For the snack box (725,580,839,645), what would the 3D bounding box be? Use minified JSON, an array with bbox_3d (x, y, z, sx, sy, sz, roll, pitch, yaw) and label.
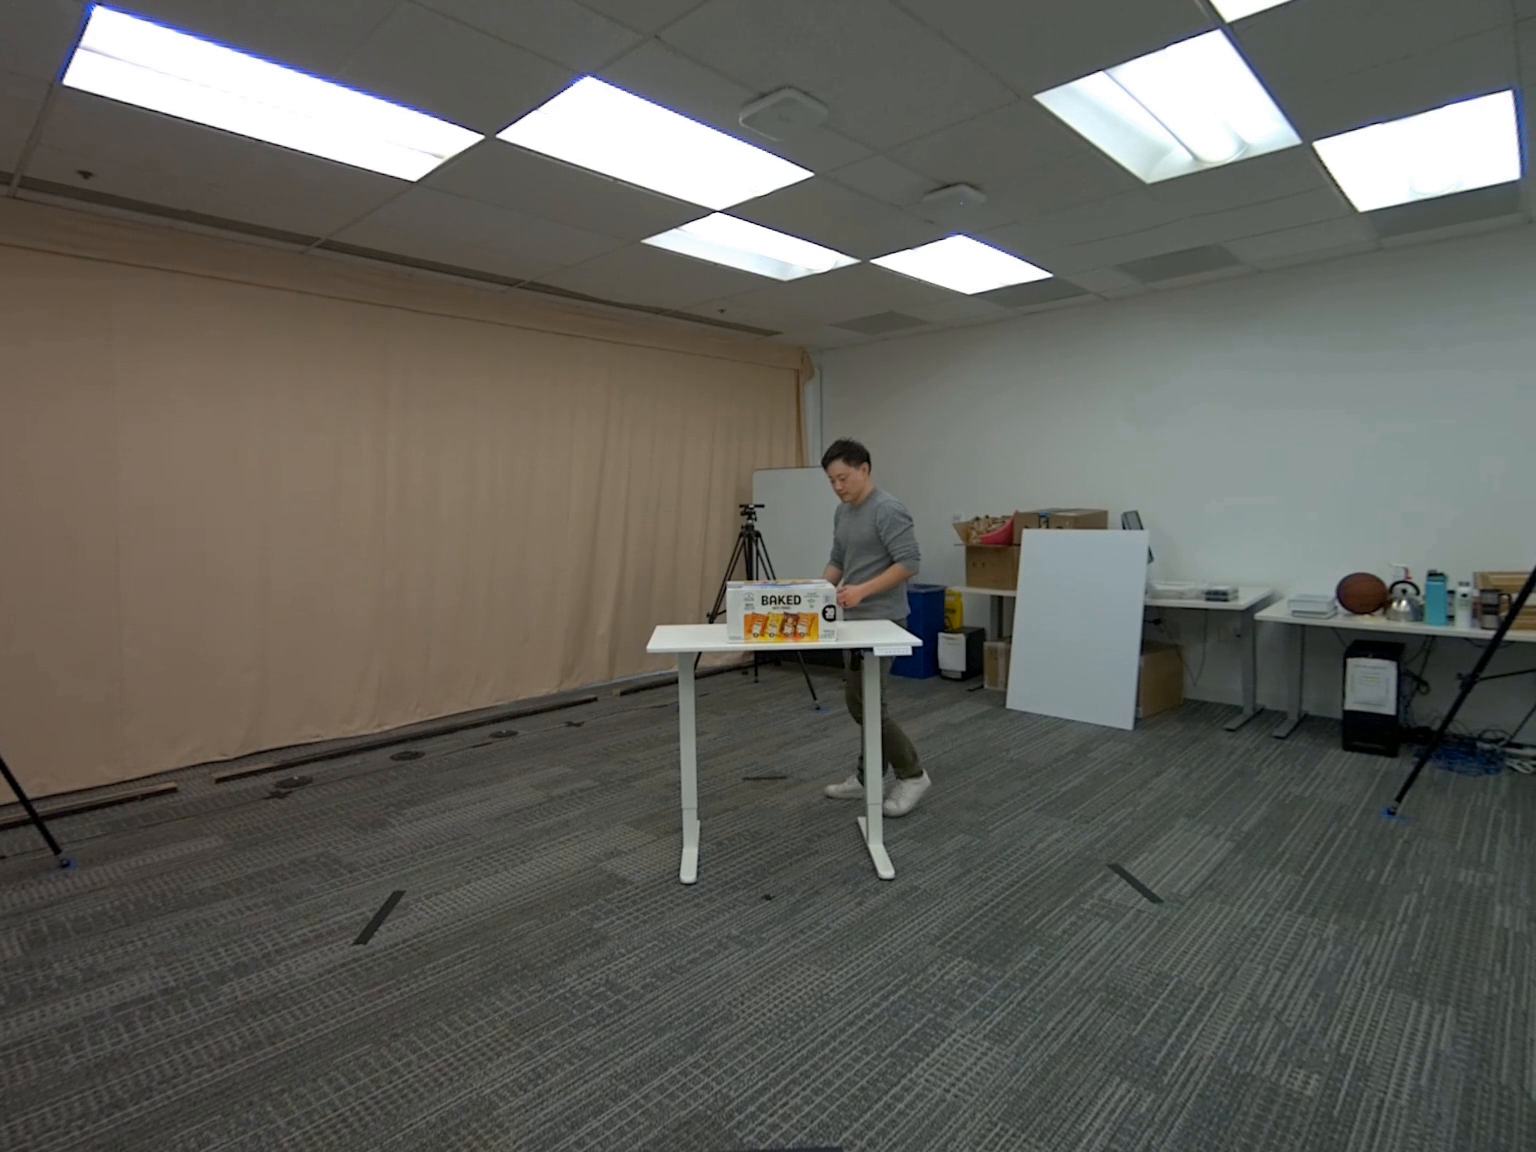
[{"bbox_3d":[0.047,0.133,3.272,0.405,0.205,0.341,-2,3,0],"label":"snack box"}]
